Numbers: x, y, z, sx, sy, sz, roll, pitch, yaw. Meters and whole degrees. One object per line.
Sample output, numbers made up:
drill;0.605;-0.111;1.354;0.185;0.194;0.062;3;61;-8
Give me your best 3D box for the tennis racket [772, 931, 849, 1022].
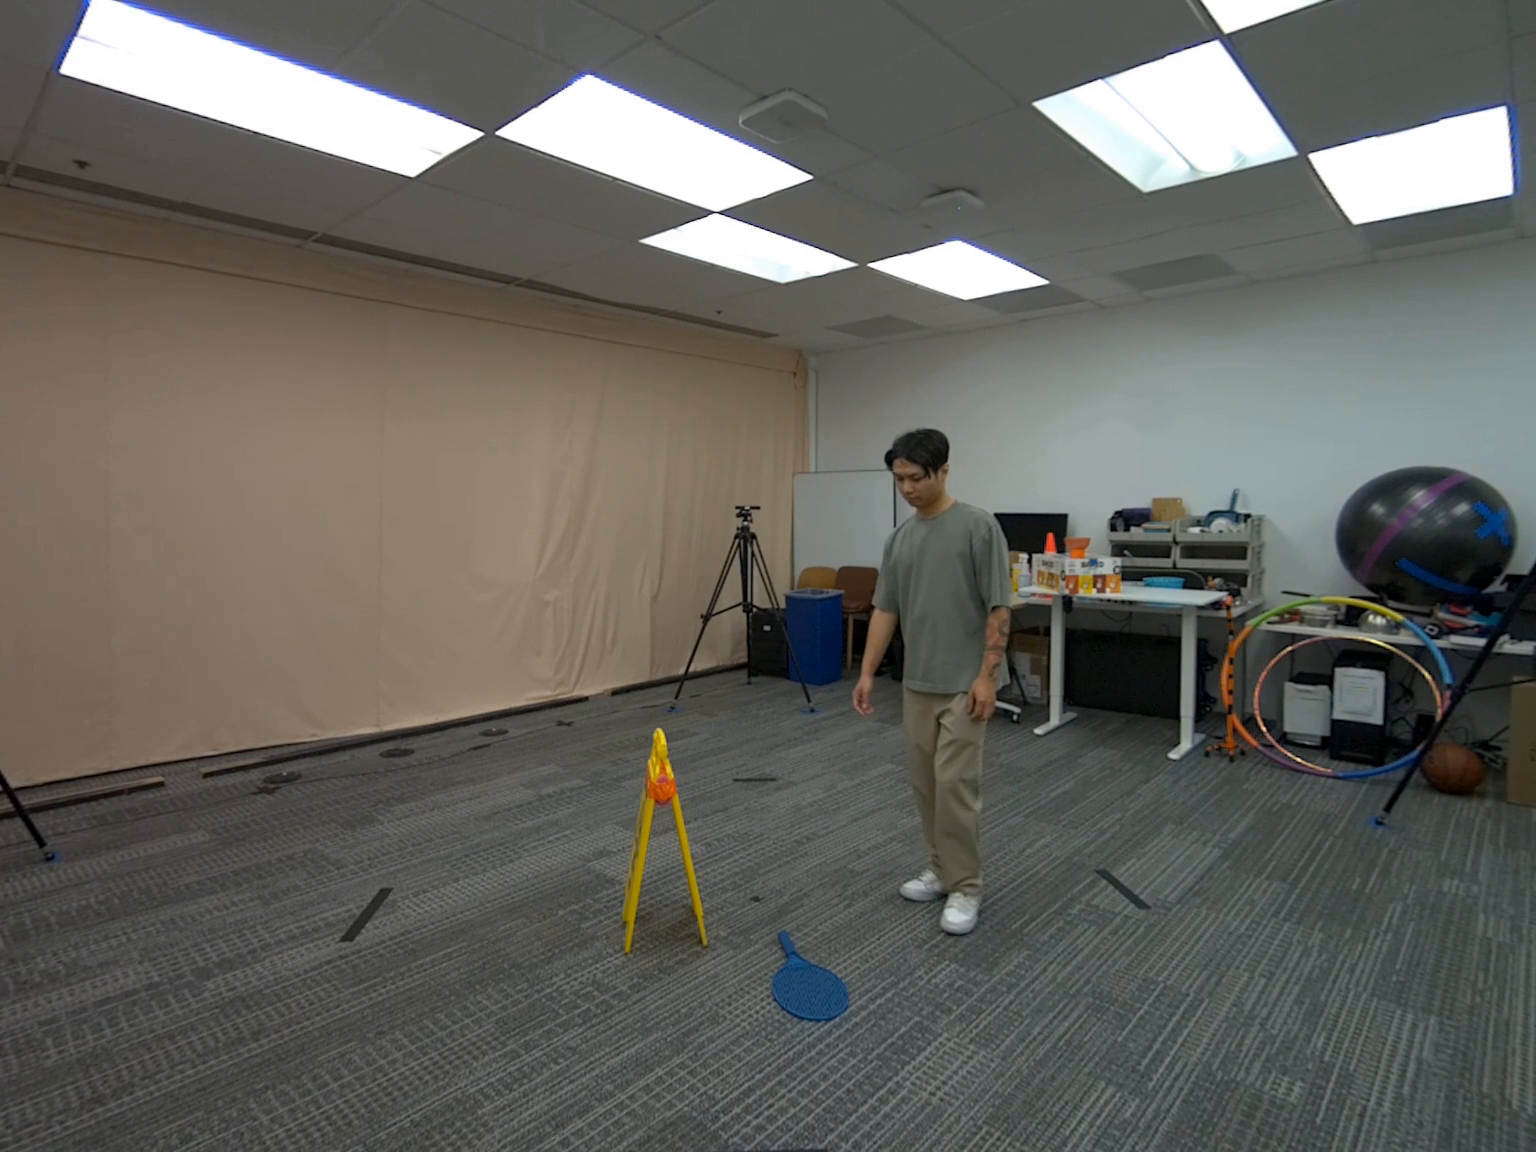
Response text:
tennis racket;0.103;1.171;2.485;0.211;0.031;0.439;-1;6;-12
